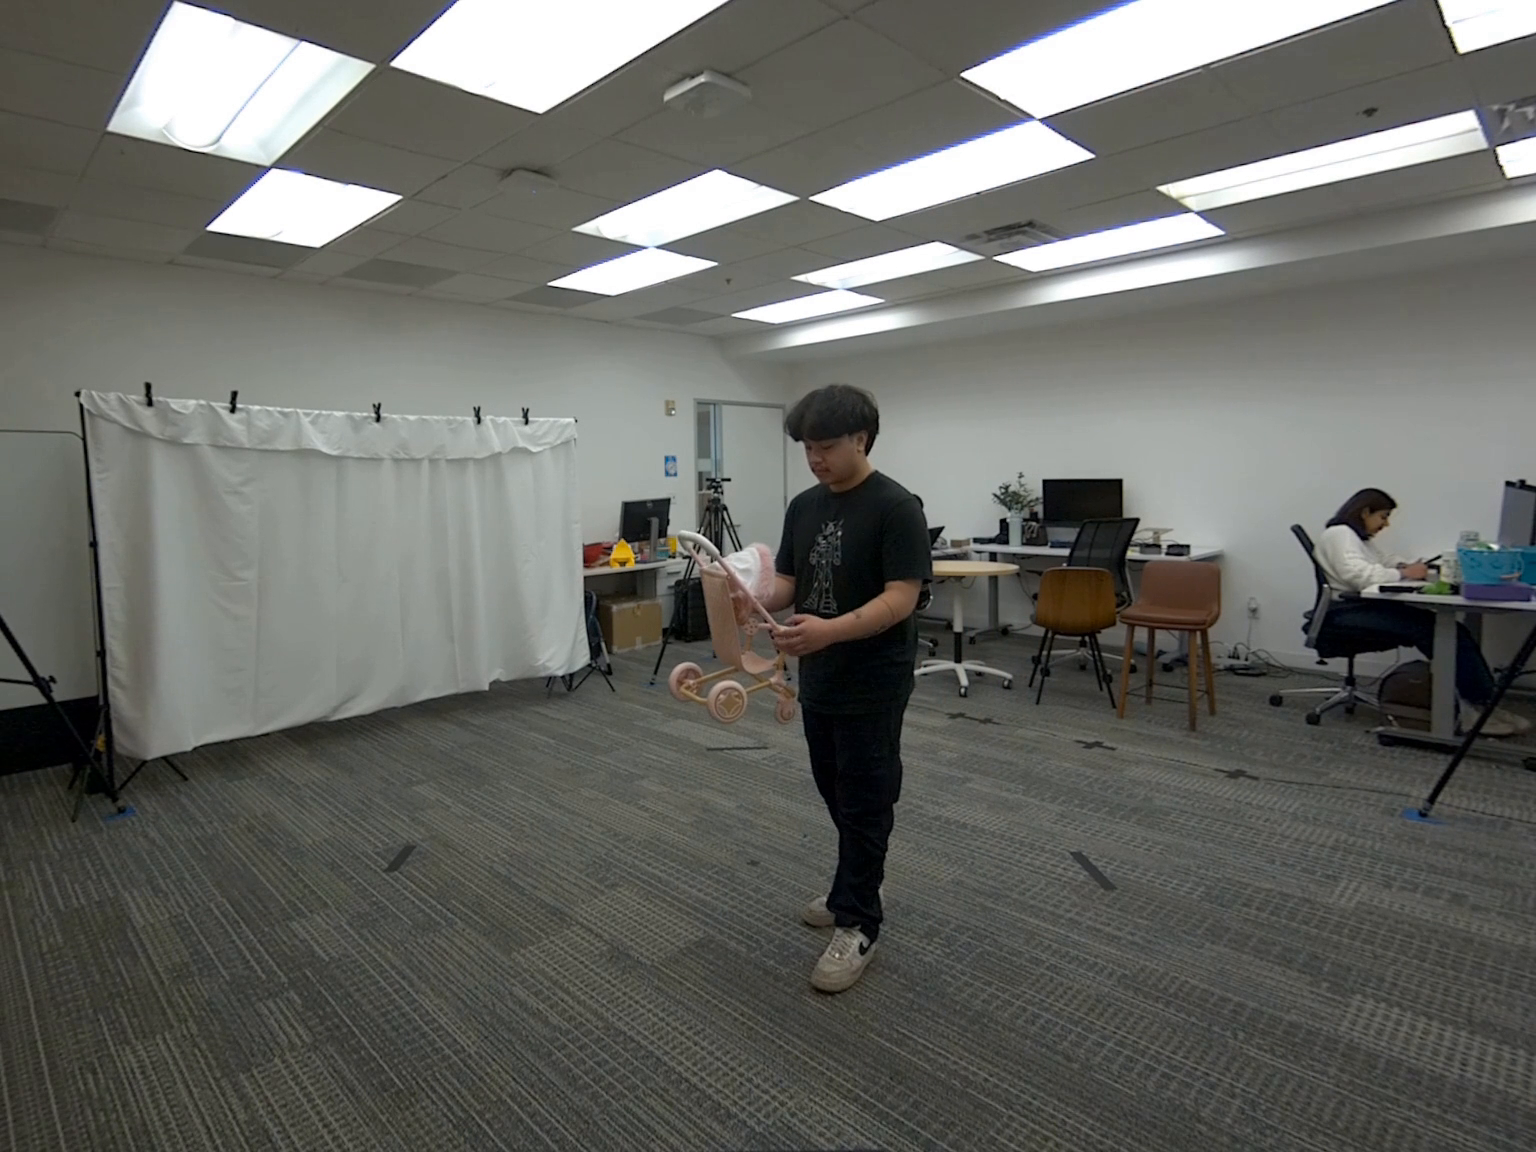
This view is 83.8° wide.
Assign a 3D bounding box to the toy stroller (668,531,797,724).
[{"bbox_3d":[-0.060,0.152,2.294,0.334,0.534,0.287,0,2,-22],"label":"toy stroller"}]
